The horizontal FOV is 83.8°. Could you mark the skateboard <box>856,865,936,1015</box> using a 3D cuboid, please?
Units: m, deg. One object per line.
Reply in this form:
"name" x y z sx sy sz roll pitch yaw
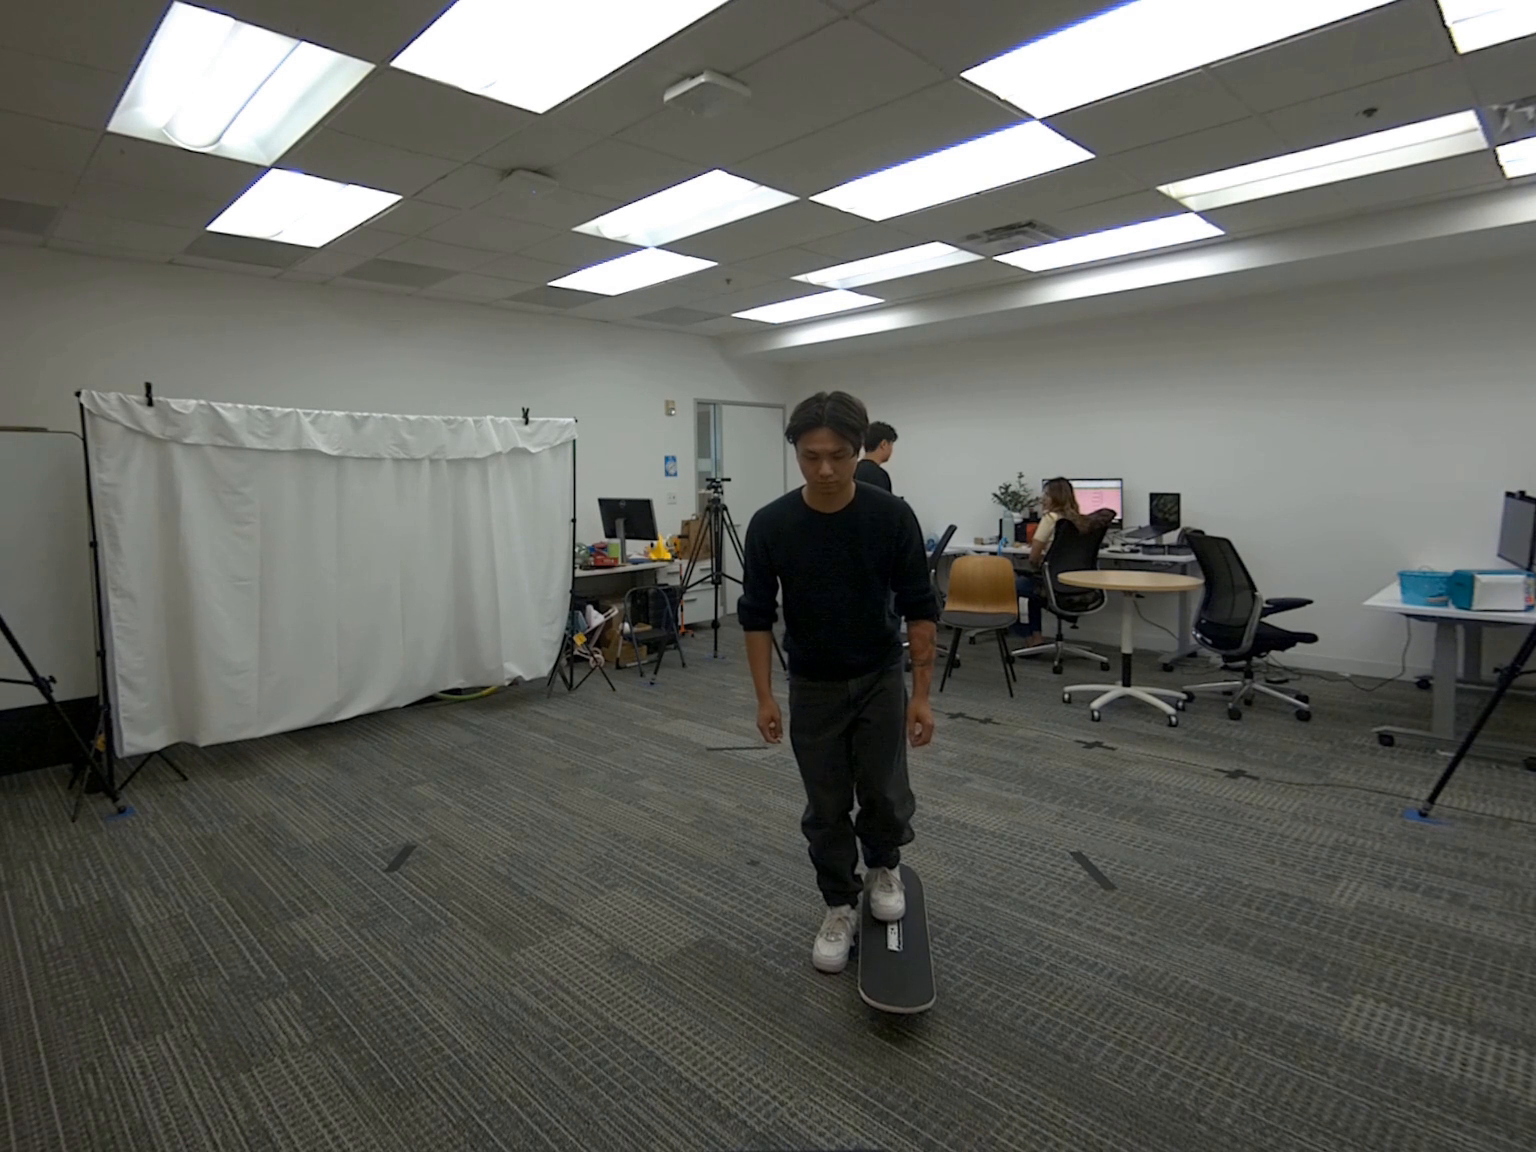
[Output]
"skateboard" 0.374 1.057 2.460 0.195 0.110 0.783 0 8 7
